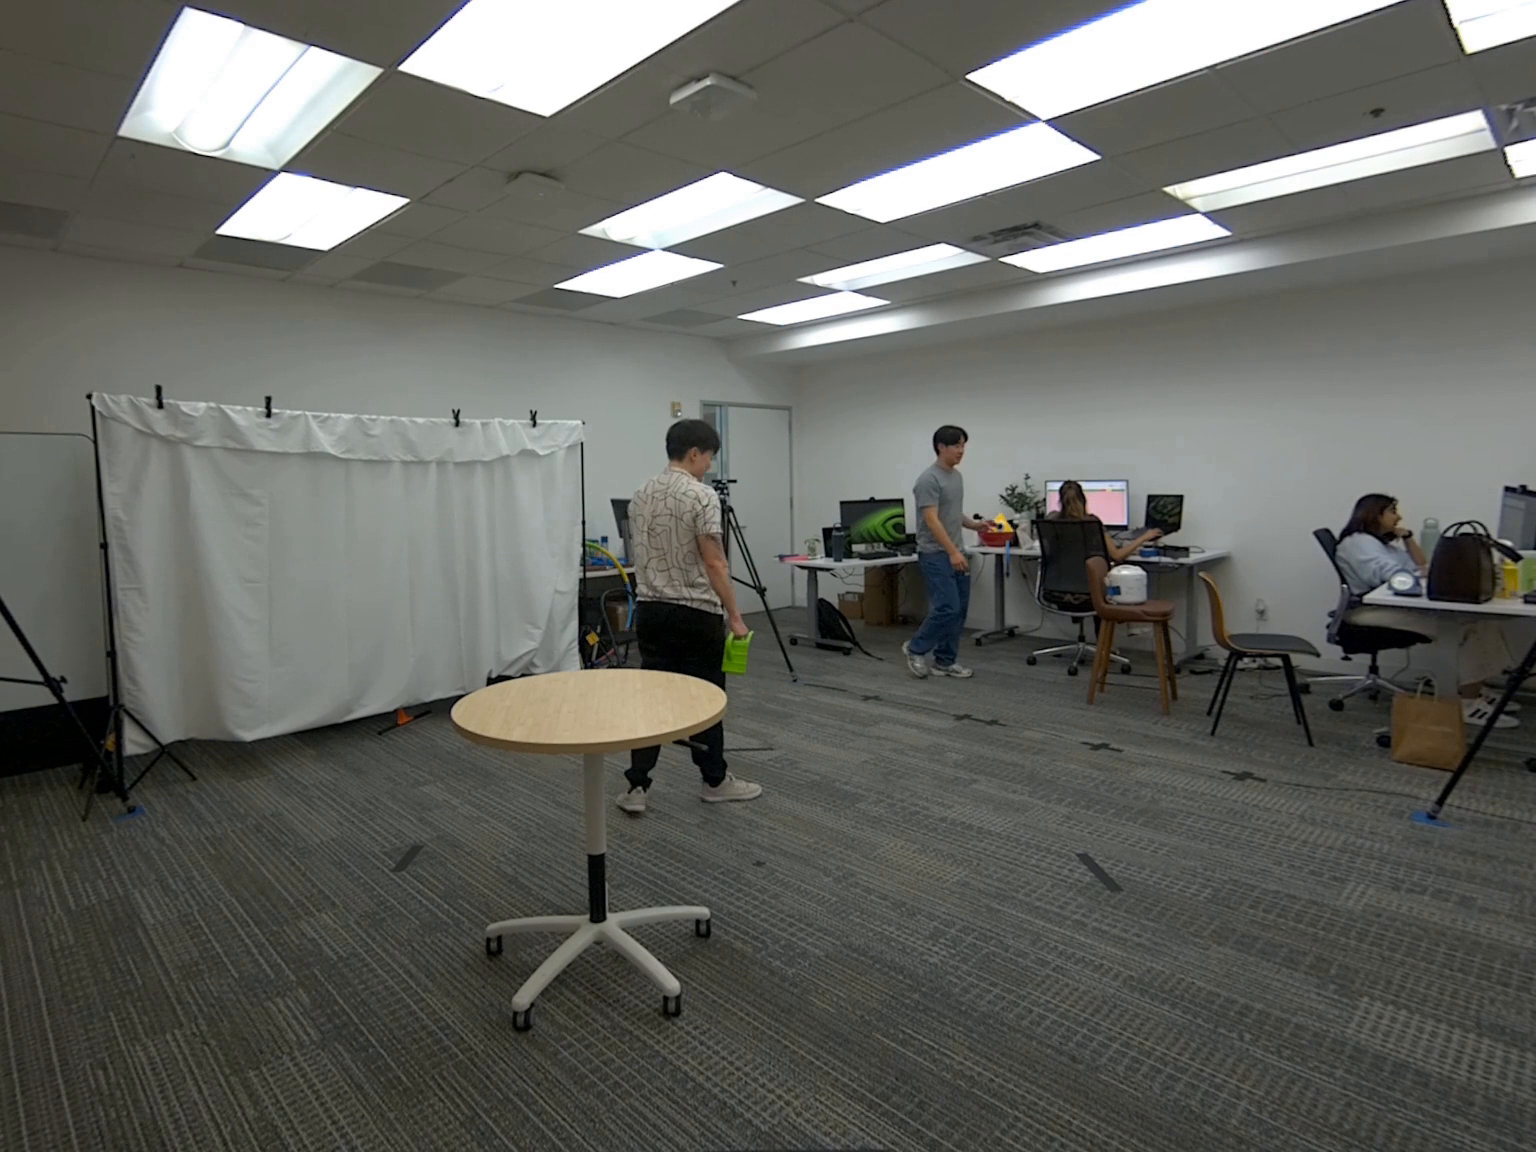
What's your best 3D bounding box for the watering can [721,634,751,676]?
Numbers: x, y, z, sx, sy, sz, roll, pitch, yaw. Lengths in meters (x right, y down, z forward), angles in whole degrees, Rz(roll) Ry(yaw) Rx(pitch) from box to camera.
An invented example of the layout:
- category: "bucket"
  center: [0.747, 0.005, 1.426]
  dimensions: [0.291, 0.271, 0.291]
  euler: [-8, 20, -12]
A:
- category: "watering can"
  center: [-0.103, 0.312, 3.584]
  dimensions: [0.101, 0.177, 0.270]
  euler: [2, -3, 33]
